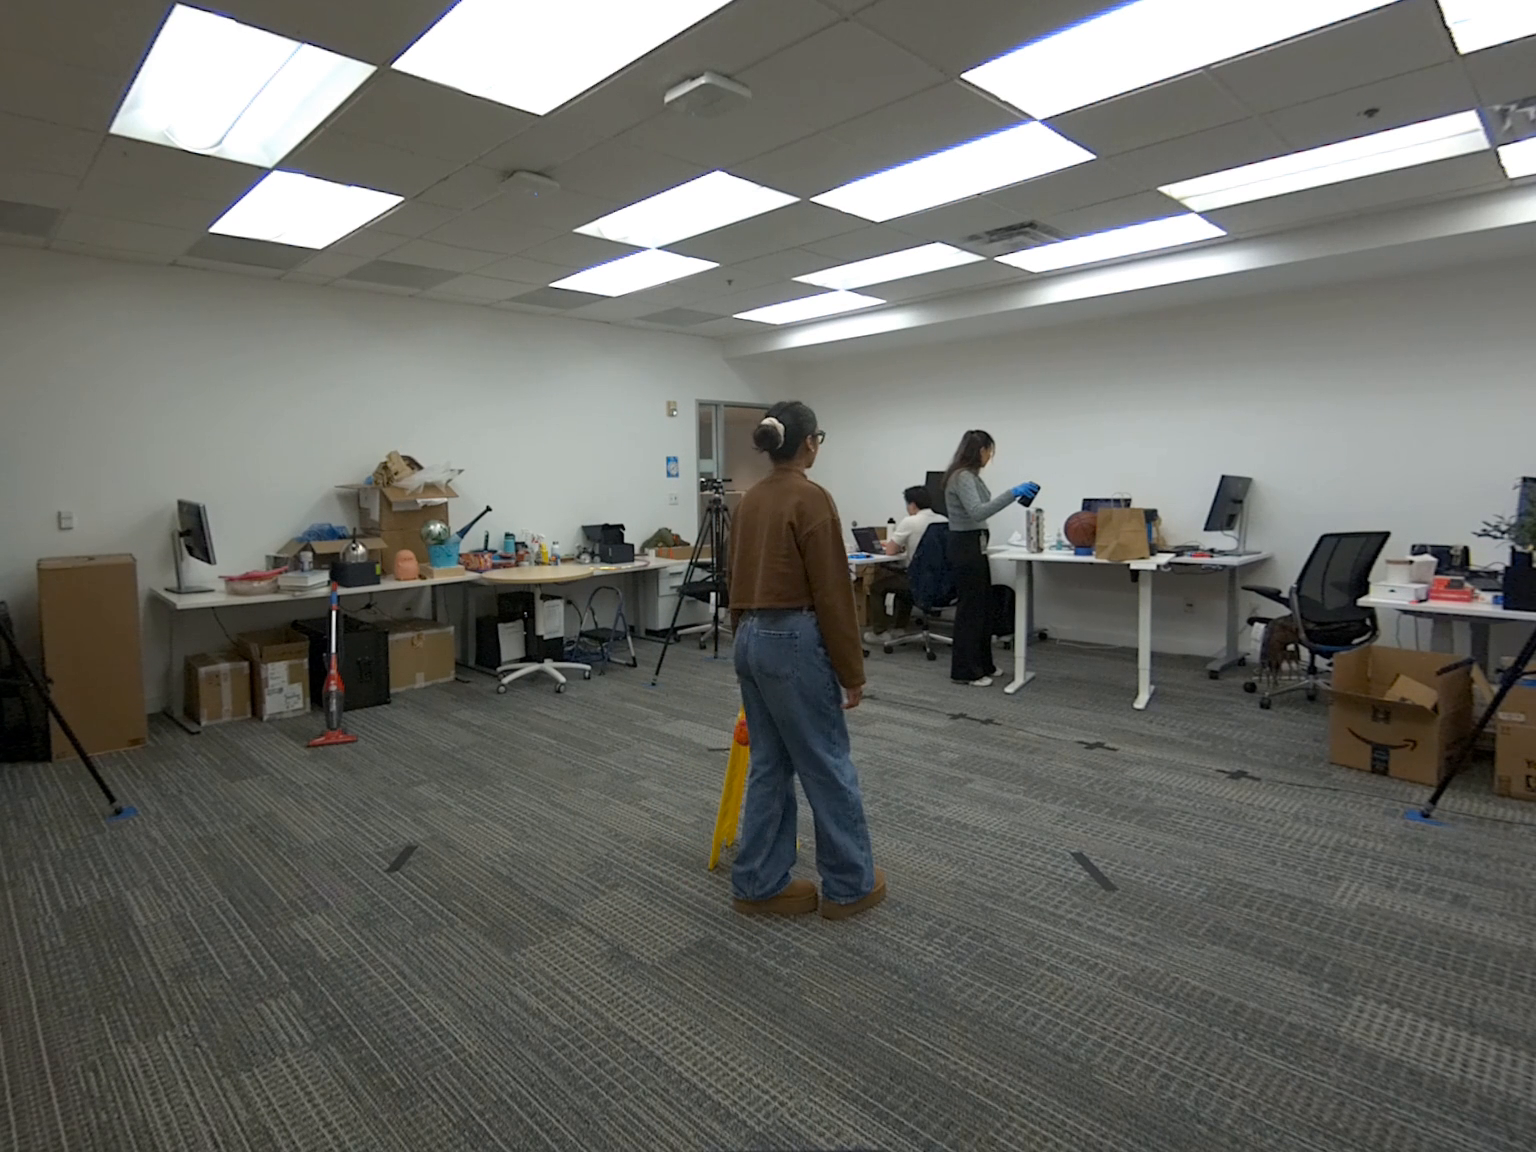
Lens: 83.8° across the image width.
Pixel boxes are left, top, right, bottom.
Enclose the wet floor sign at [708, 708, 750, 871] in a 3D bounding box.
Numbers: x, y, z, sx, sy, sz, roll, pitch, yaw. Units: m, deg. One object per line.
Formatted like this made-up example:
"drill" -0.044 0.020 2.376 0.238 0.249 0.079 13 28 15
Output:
"wet floor sign" -0.051 0.718 3.125 0.294 0.644 0.279 -1 3 16
